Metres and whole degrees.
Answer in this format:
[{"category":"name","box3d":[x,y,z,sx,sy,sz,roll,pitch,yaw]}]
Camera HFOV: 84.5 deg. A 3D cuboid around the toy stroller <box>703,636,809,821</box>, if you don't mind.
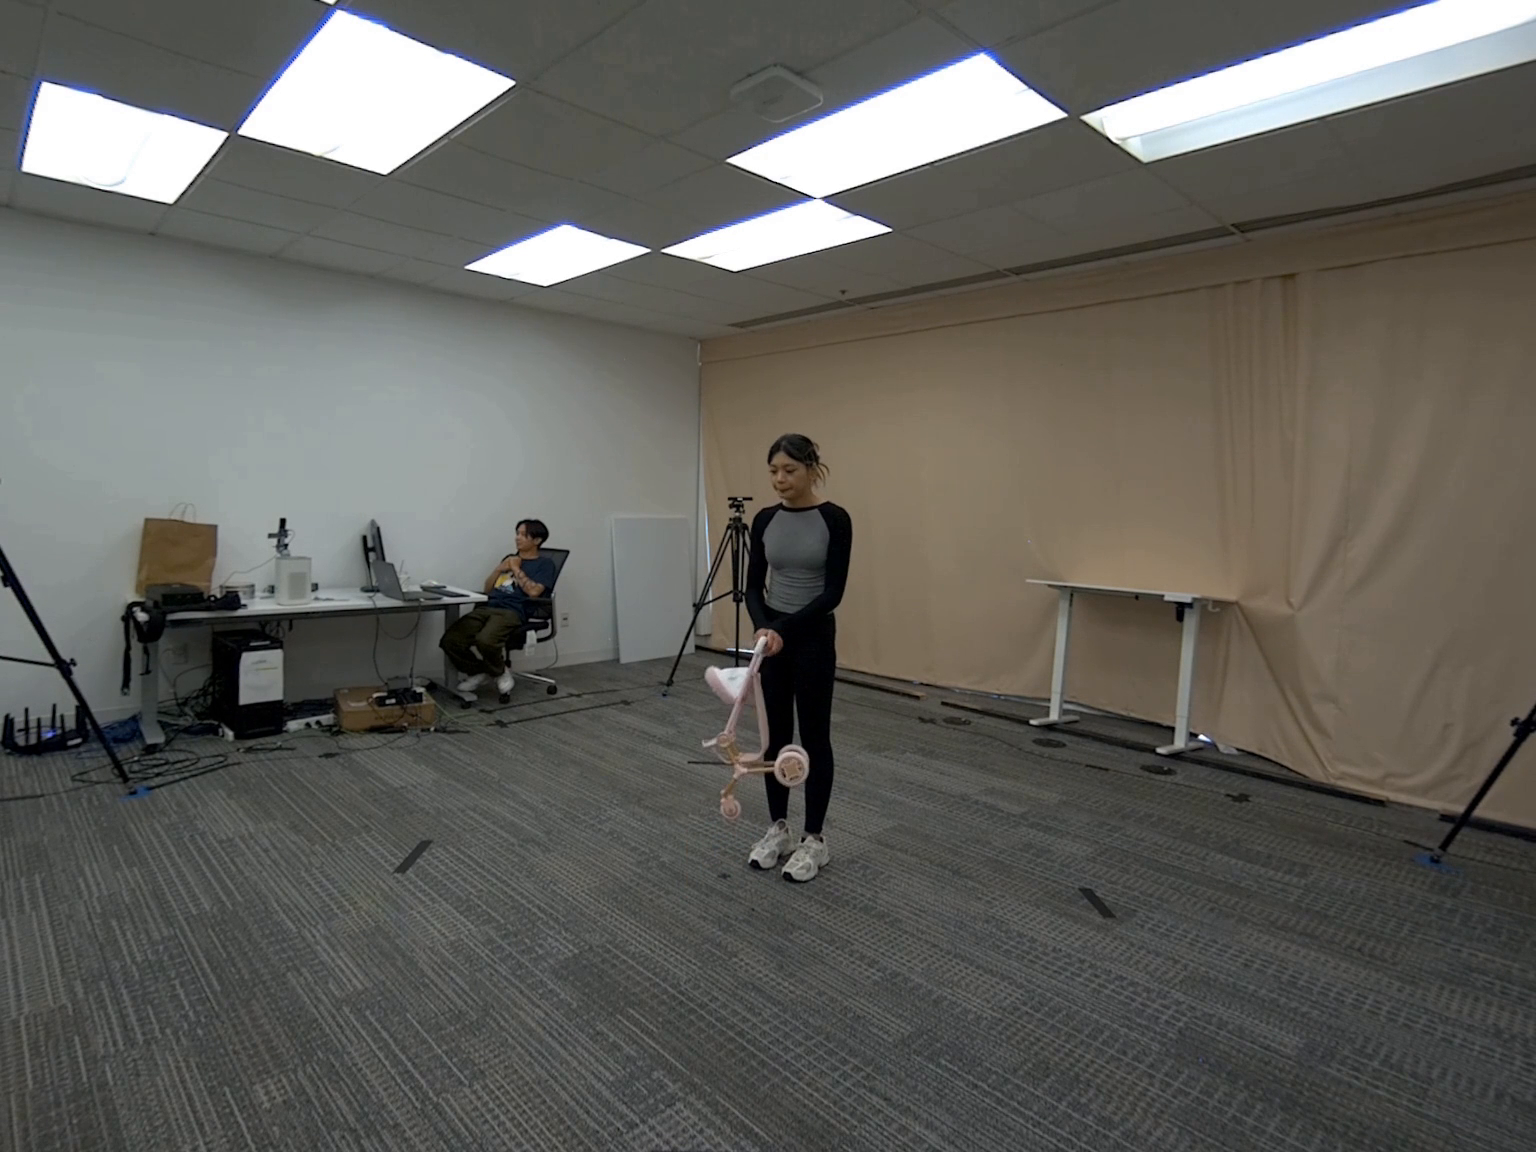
[{"category":"toy stroller","box3d":[-0.092,0.521,2.830,0.342,0.539,0.278,-19,-7,7]}]
